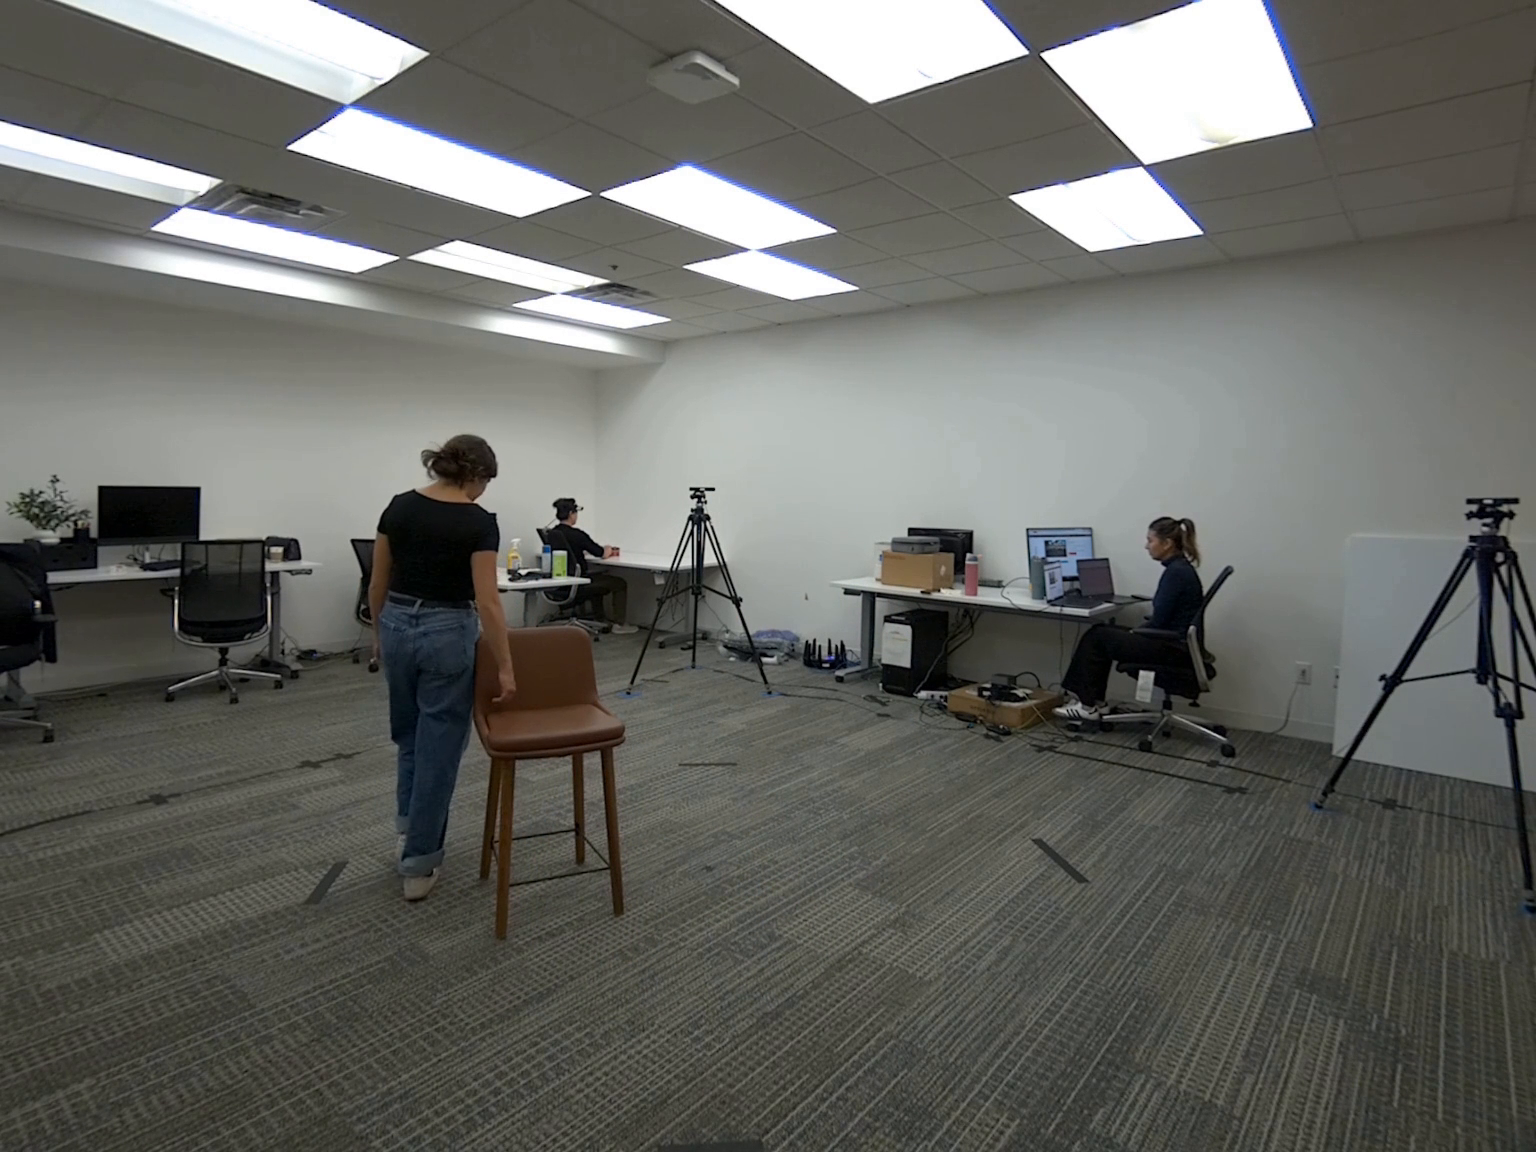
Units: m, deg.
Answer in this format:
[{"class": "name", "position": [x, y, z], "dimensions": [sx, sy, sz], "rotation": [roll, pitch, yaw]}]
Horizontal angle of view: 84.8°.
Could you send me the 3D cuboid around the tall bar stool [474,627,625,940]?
[{"class": "tall bar stool", "position": [-0.755, 0.651, 2.862], "dimensions": [0.446, 0.888, 0.480], "rotation": [-1, 2, -26]}]
